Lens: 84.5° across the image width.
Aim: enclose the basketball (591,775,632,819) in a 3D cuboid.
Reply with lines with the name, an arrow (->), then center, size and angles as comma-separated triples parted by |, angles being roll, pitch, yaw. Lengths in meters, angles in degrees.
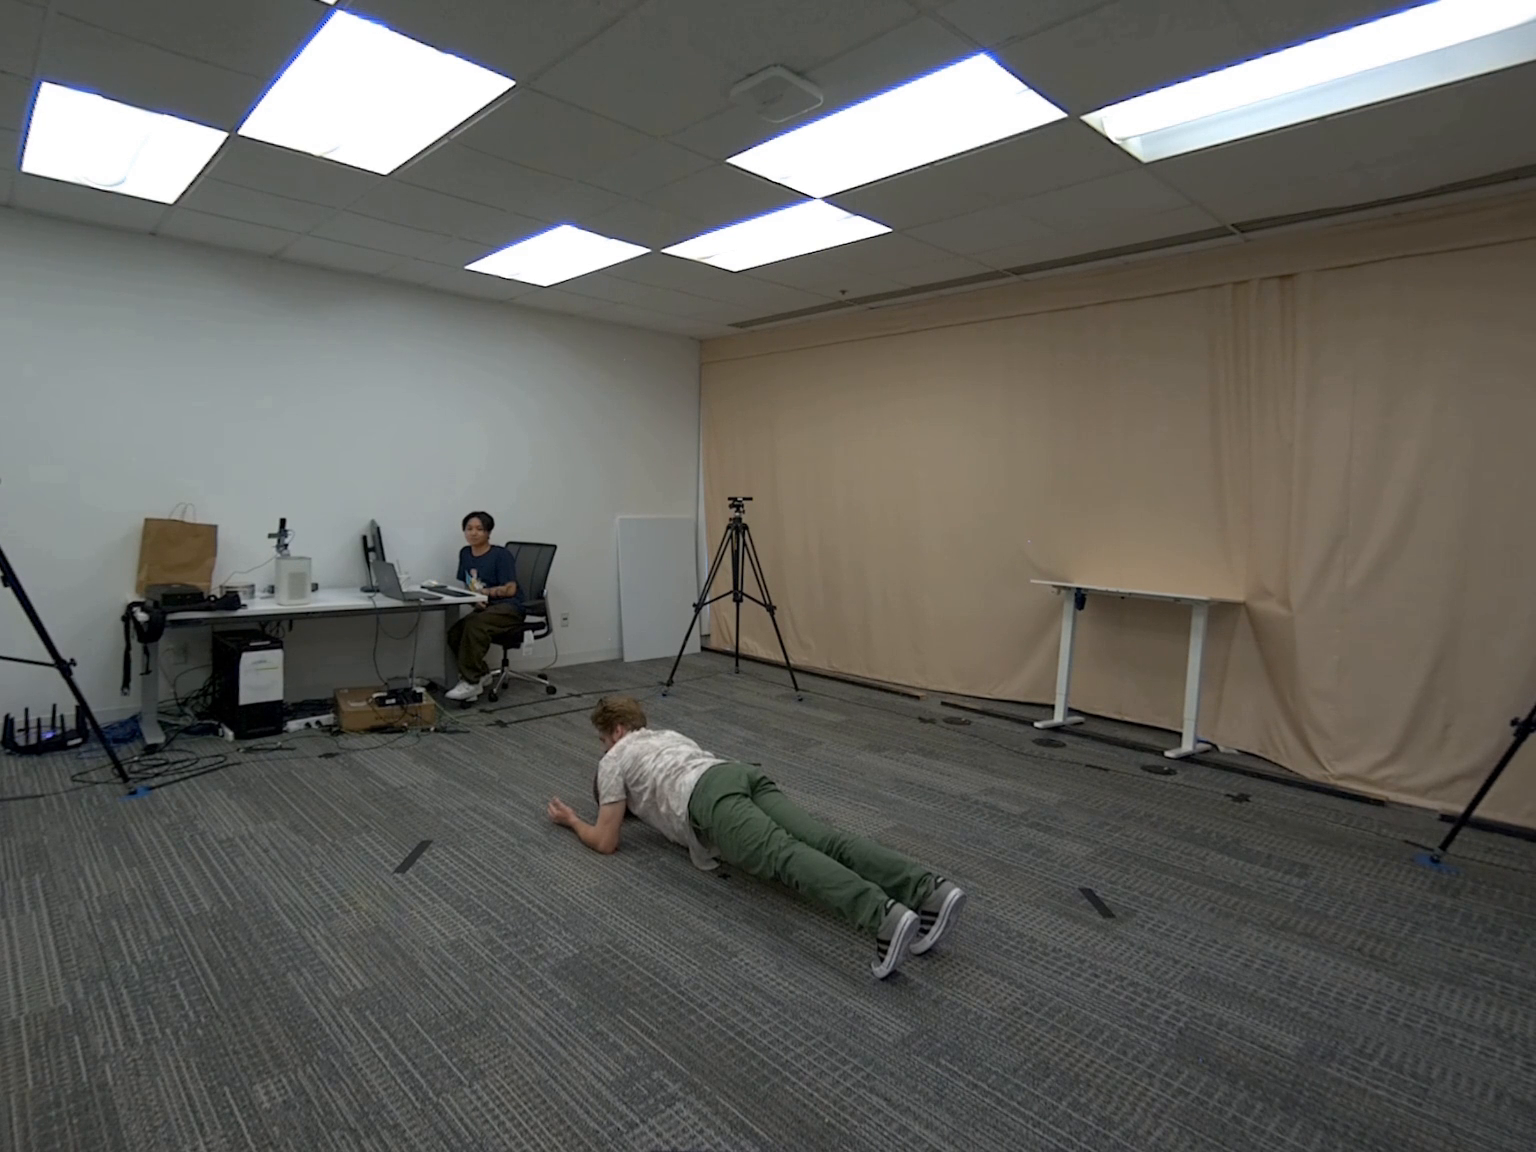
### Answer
basketball -> -0.647, 0.924, 3.691 | 0.236, 0.235, 0.237 | 1, 4, -1
